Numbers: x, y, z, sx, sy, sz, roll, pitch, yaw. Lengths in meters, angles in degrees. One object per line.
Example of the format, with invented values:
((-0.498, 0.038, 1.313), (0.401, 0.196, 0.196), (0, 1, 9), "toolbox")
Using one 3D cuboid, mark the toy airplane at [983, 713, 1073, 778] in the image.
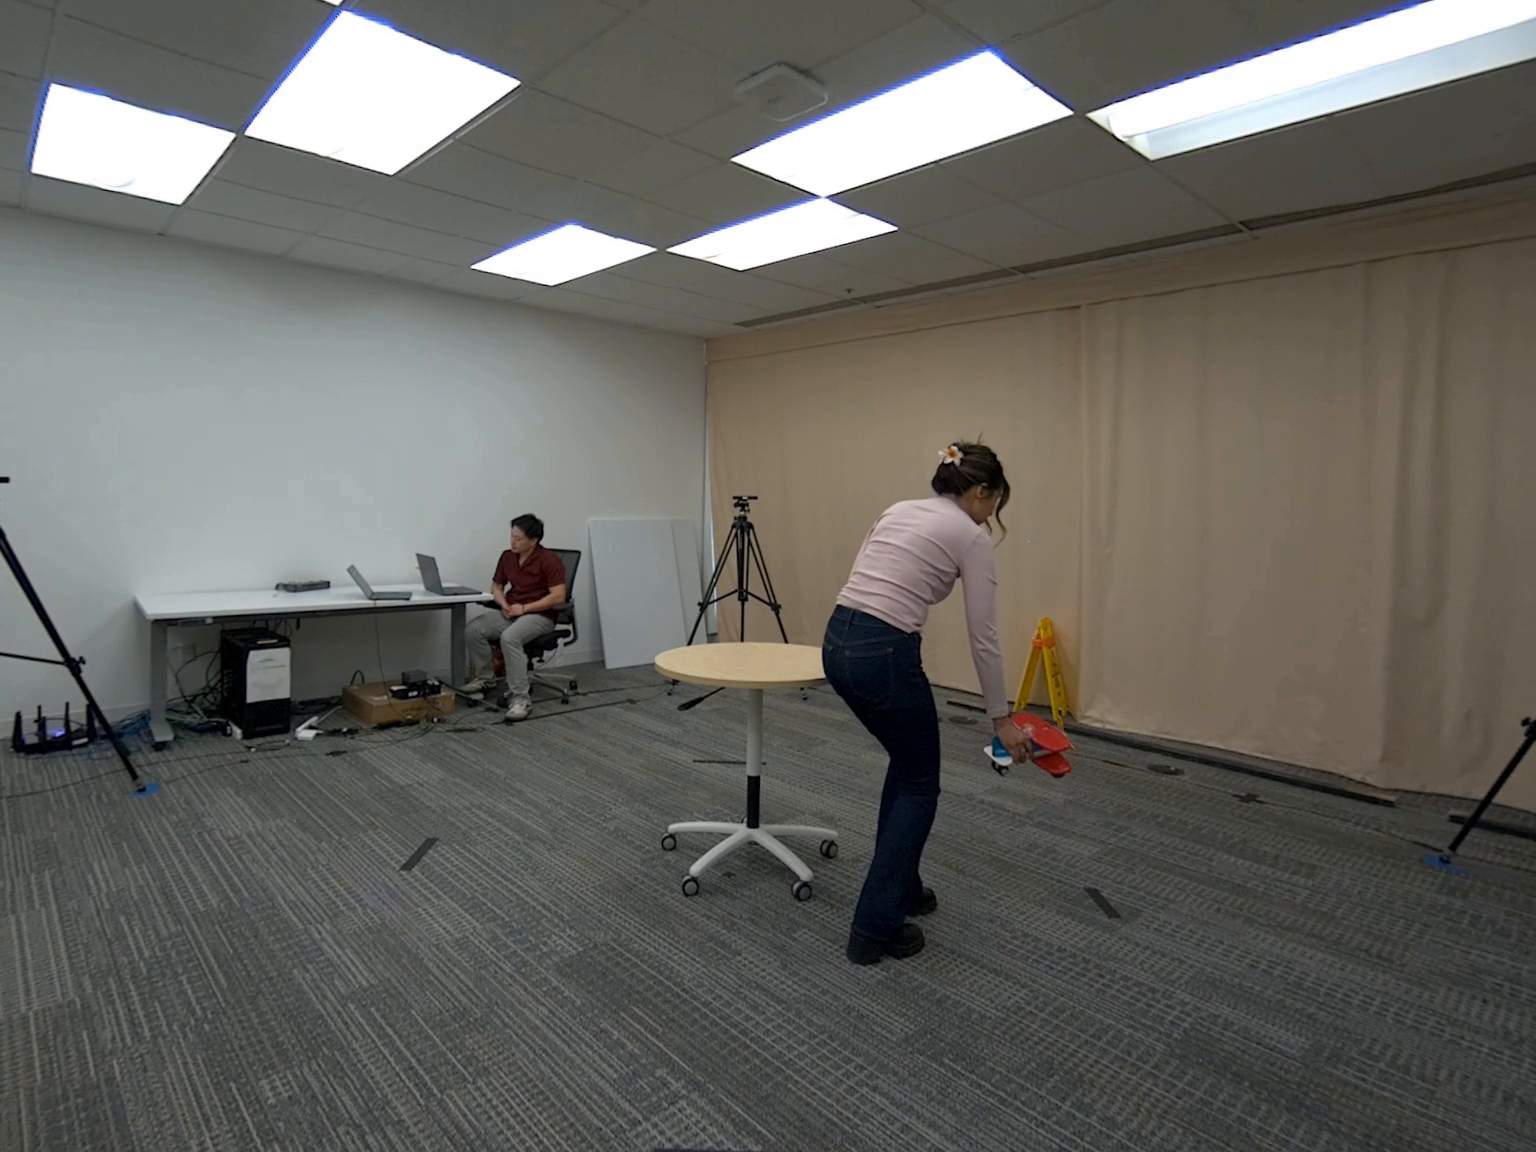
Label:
((0.831, 0.556, 2.658), (0.253, 0.155, 0.258), (-5, 16, -40), "toy airplane")
